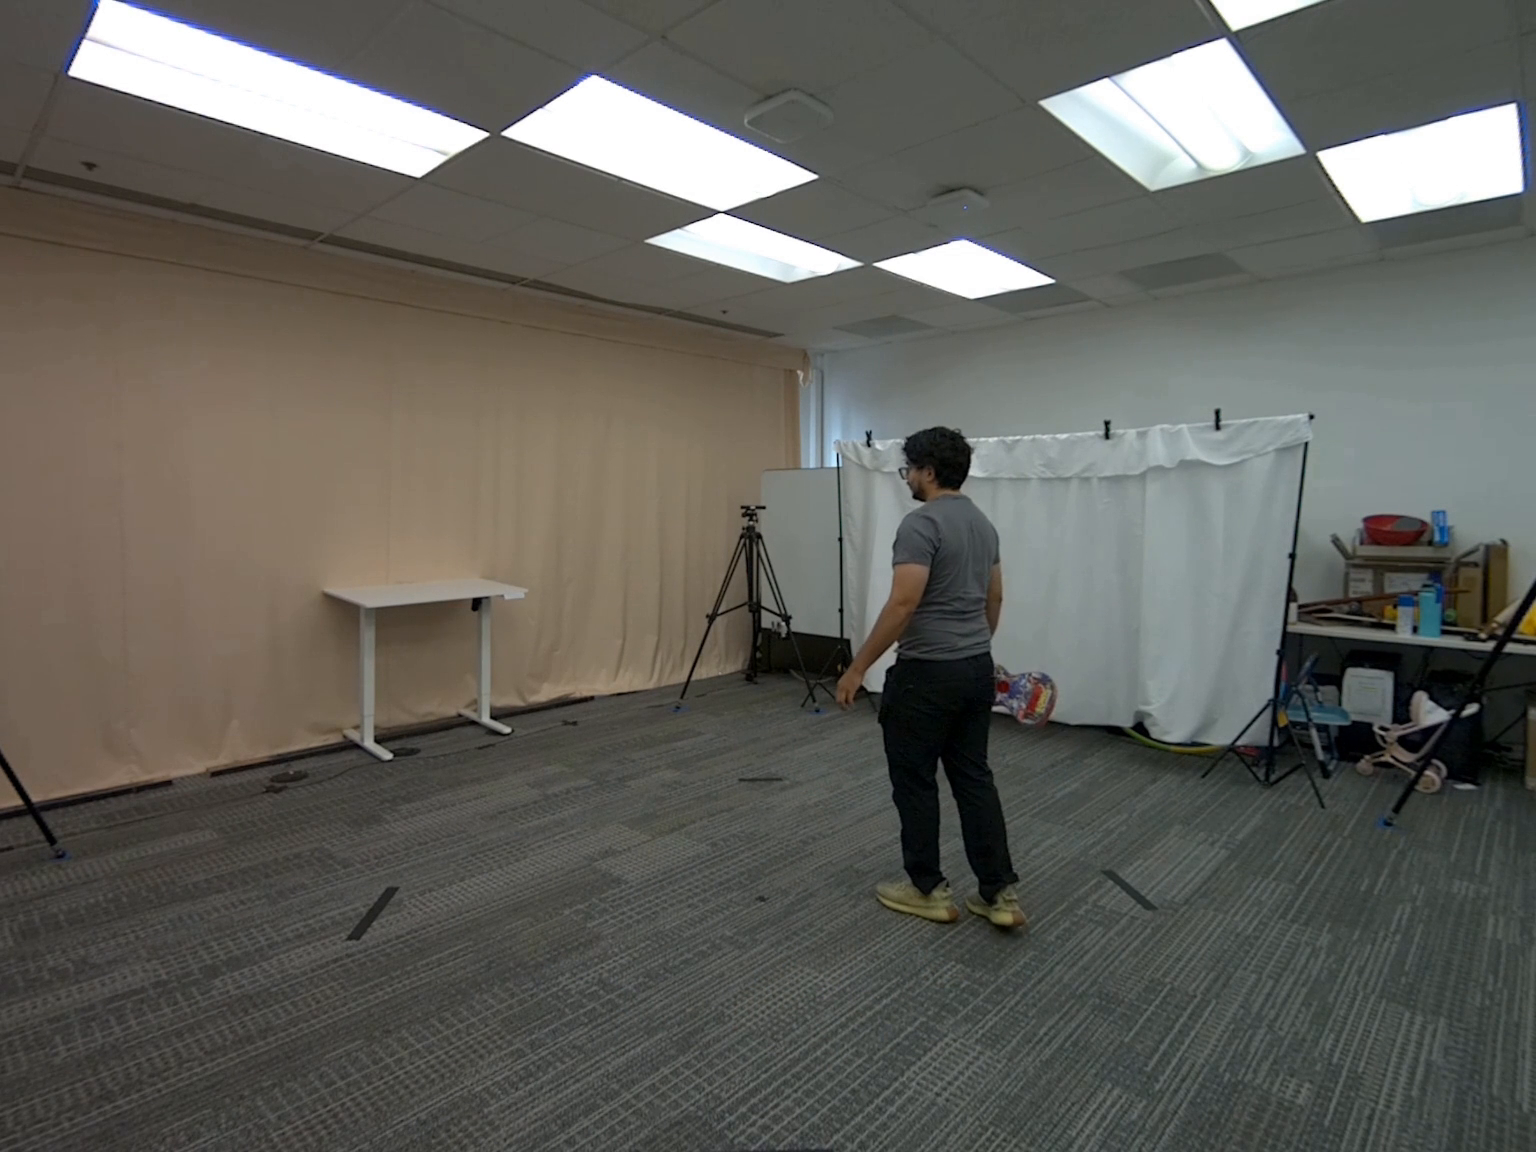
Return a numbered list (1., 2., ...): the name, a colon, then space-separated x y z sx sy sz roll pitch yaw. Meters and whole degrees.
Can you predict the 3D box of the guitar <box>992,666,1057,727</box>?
1. guitar: 0.808 0.364 3.122 0.515 0.193 0.068 30 -2 33
